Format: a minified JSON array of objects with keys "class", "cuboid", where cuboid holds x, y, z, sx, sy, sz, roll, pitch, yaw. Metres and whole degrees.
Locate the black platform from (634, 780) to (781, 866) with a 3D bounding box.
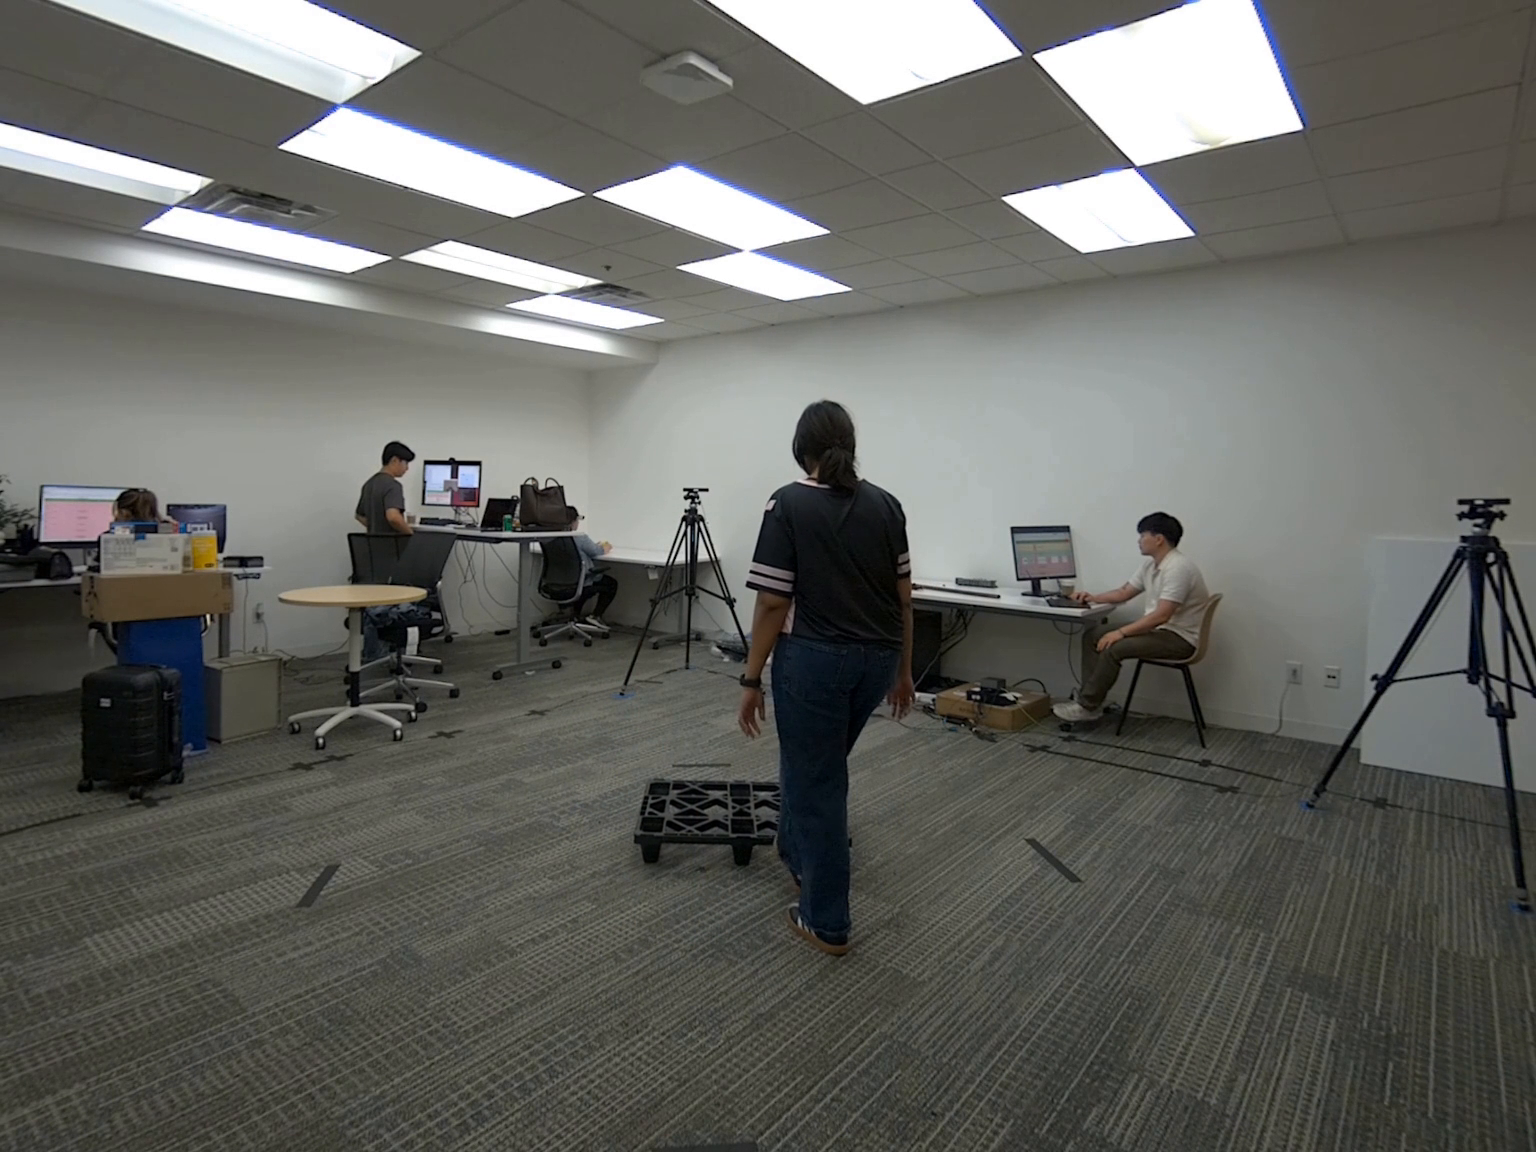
[{"class":"black platform","cuboid":[-0.117,0.976,3.379,0.805,0.143,0.608,1,6,-1]}]
